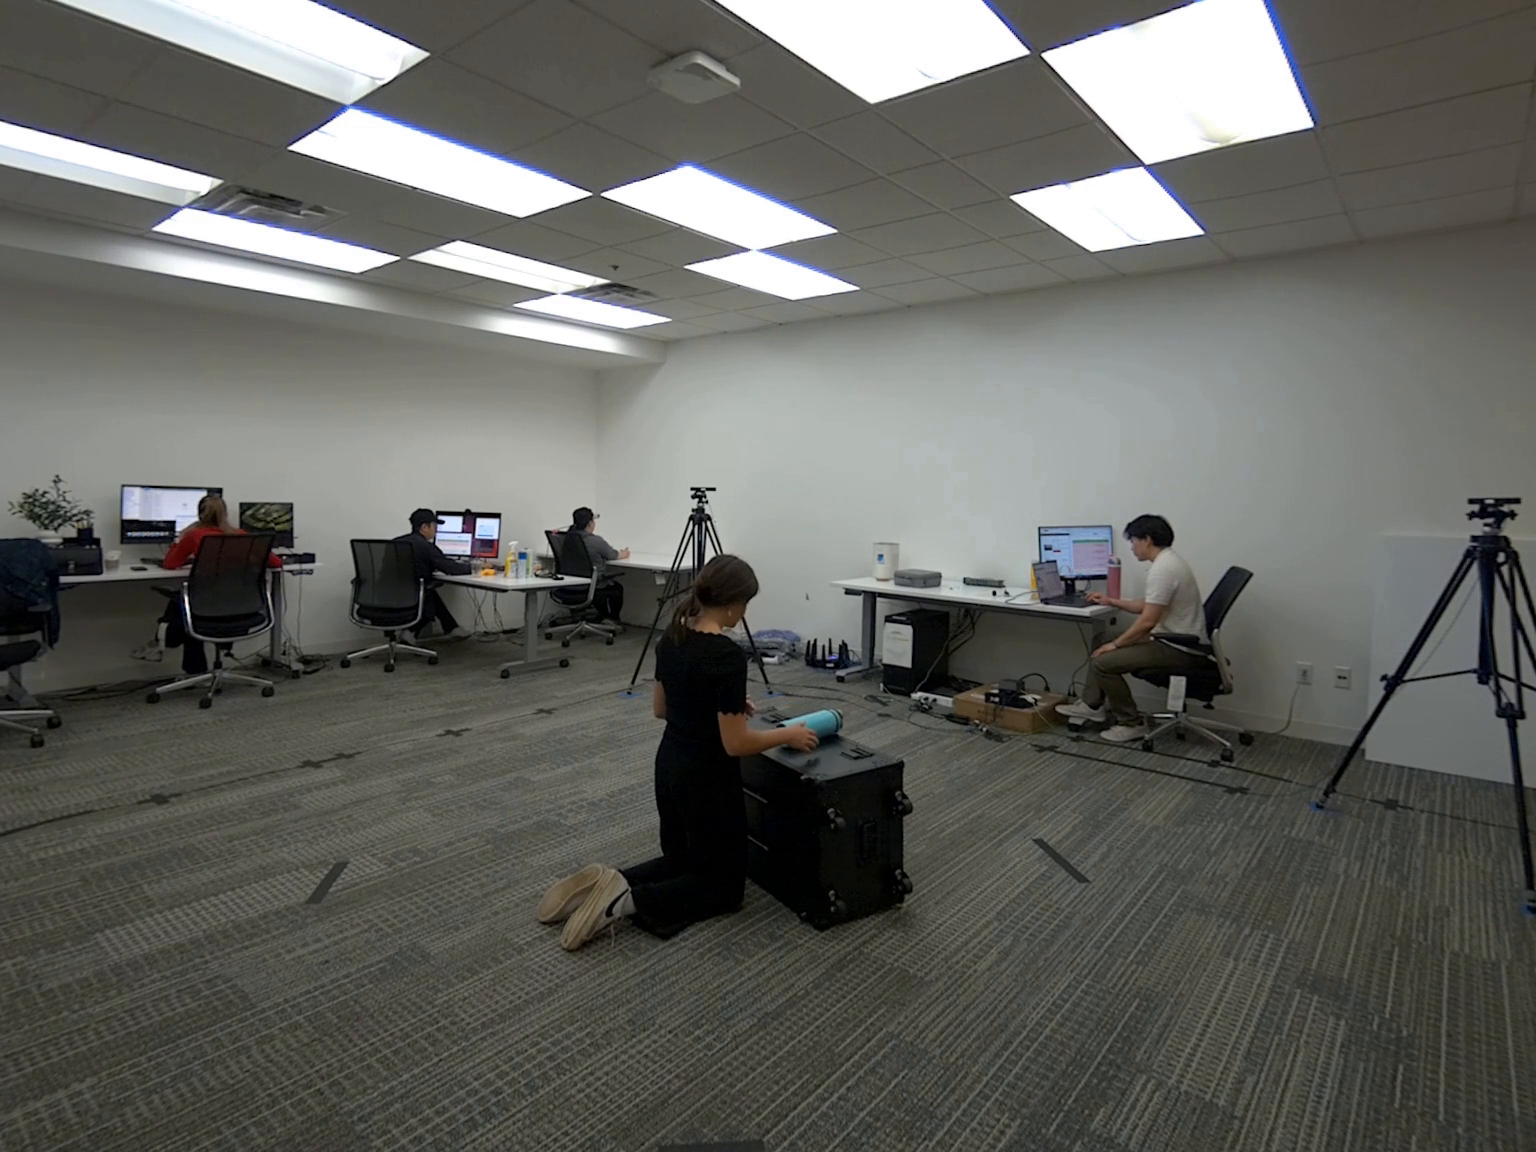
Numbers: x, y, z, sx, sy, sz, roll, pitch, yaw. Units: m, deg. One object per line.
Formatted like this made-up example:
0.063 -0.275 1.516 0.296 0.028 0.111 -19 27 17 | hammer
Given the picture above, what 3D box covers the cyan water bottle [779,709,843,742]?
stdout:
0.150 0.542 3.059 0.276 0.092 0.095 -7 8 -37 | cyan water bottle
